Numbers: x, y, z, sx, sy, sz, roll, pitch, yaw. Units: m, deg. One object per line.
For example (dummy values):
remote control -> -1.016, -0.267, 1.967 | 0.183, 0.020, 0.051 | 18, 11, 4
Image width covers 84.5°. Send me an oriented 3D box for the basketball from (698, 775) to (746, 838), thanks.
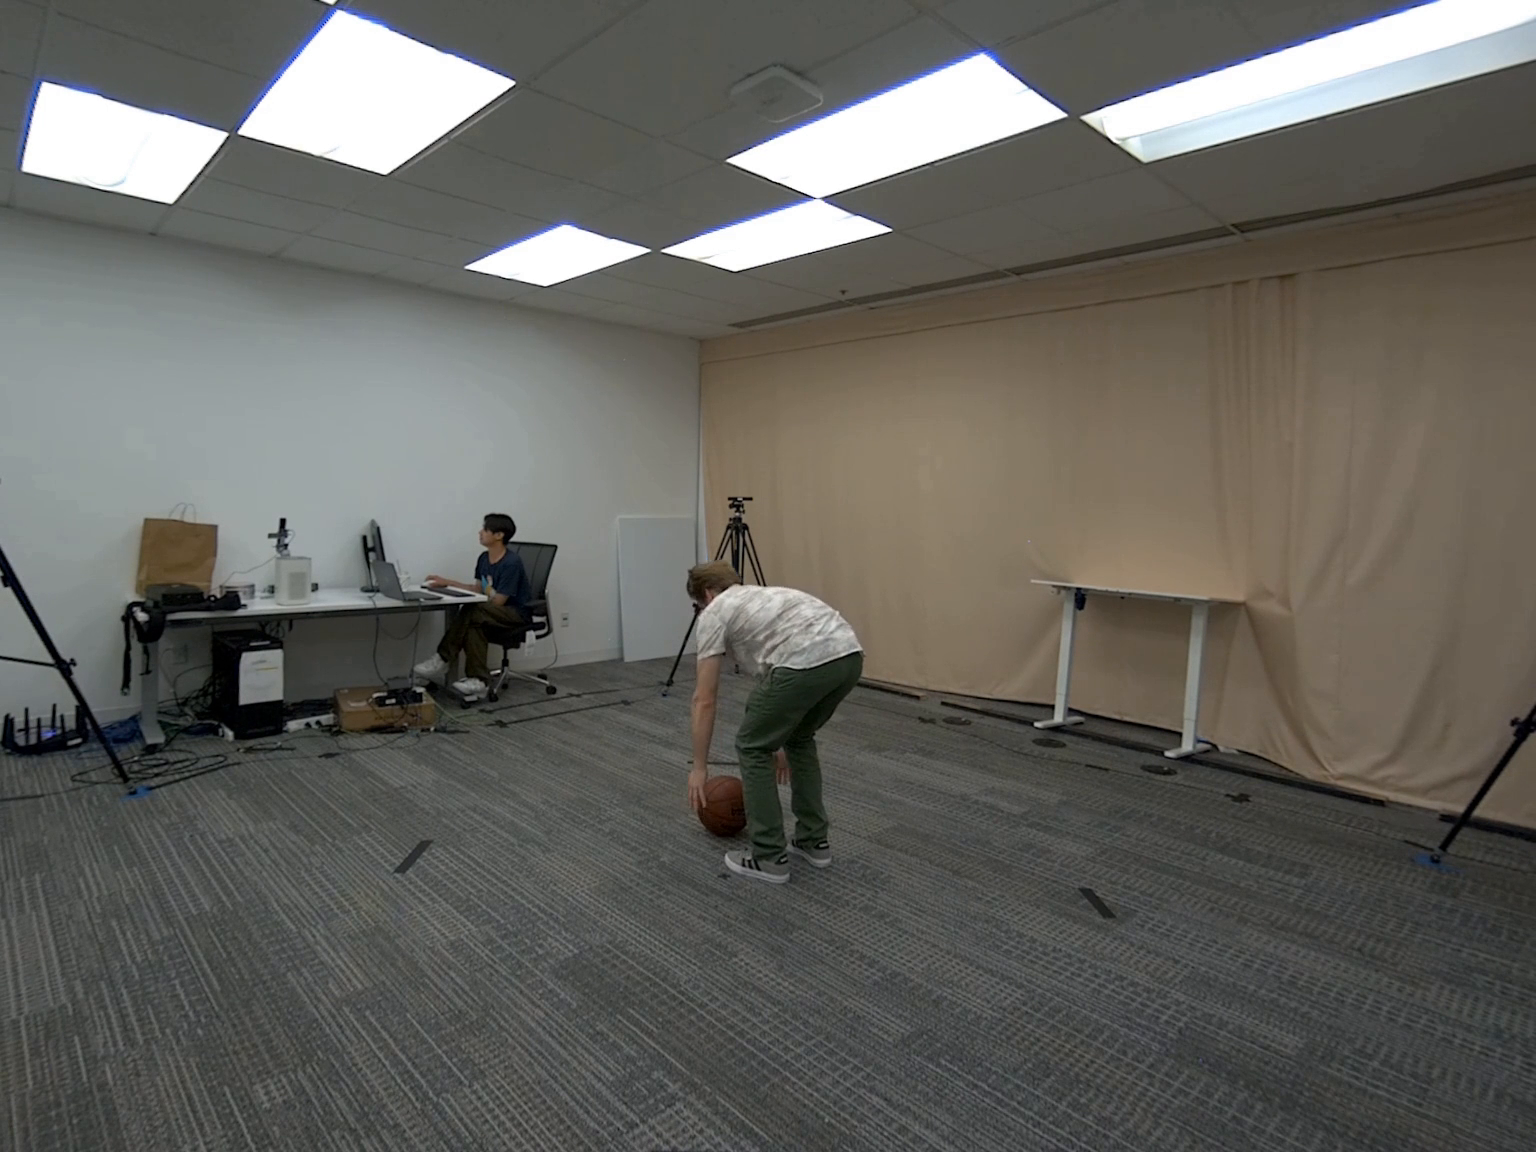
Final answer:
basketball -> -0.187, 0.939, 3.499 | 0.236, 0.235, 0.237 | 1, 4, -1
